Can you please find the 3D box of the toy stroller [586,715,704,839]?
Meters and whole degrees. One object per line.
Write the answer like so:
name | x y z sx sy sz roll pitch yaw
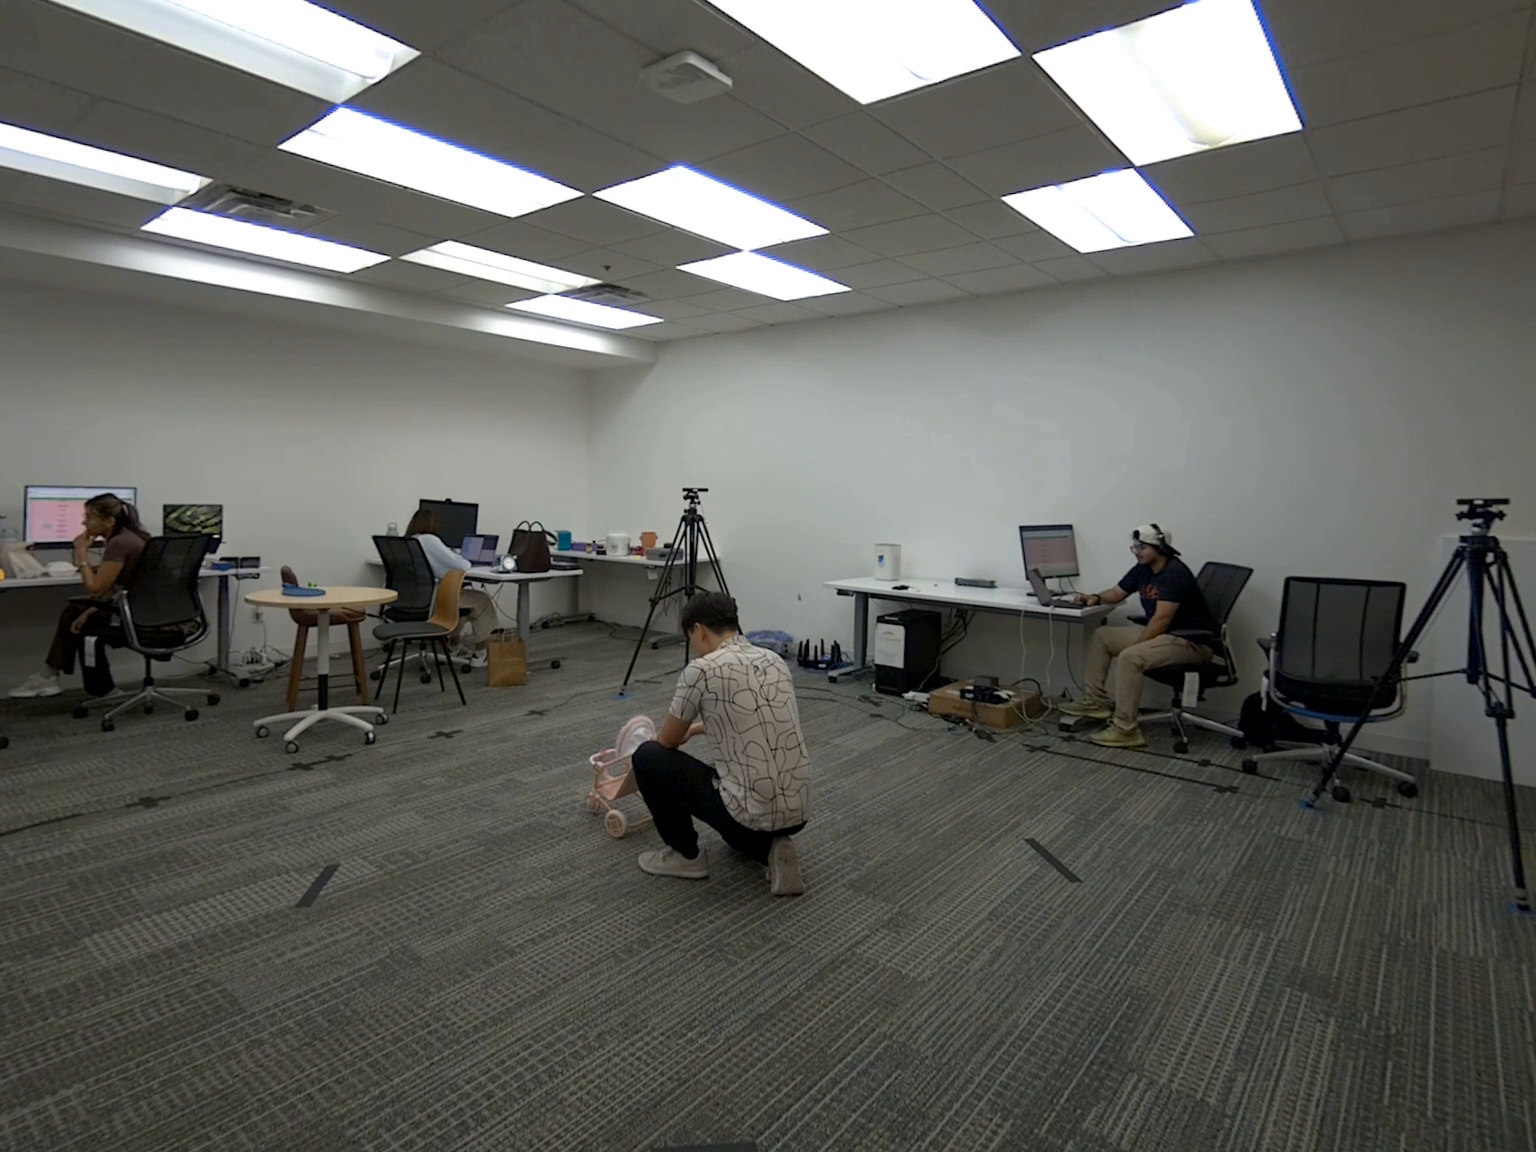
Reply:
toy stroller | -0.585 0.801 3.504 0.355 0.530 0.273 28 17 35
